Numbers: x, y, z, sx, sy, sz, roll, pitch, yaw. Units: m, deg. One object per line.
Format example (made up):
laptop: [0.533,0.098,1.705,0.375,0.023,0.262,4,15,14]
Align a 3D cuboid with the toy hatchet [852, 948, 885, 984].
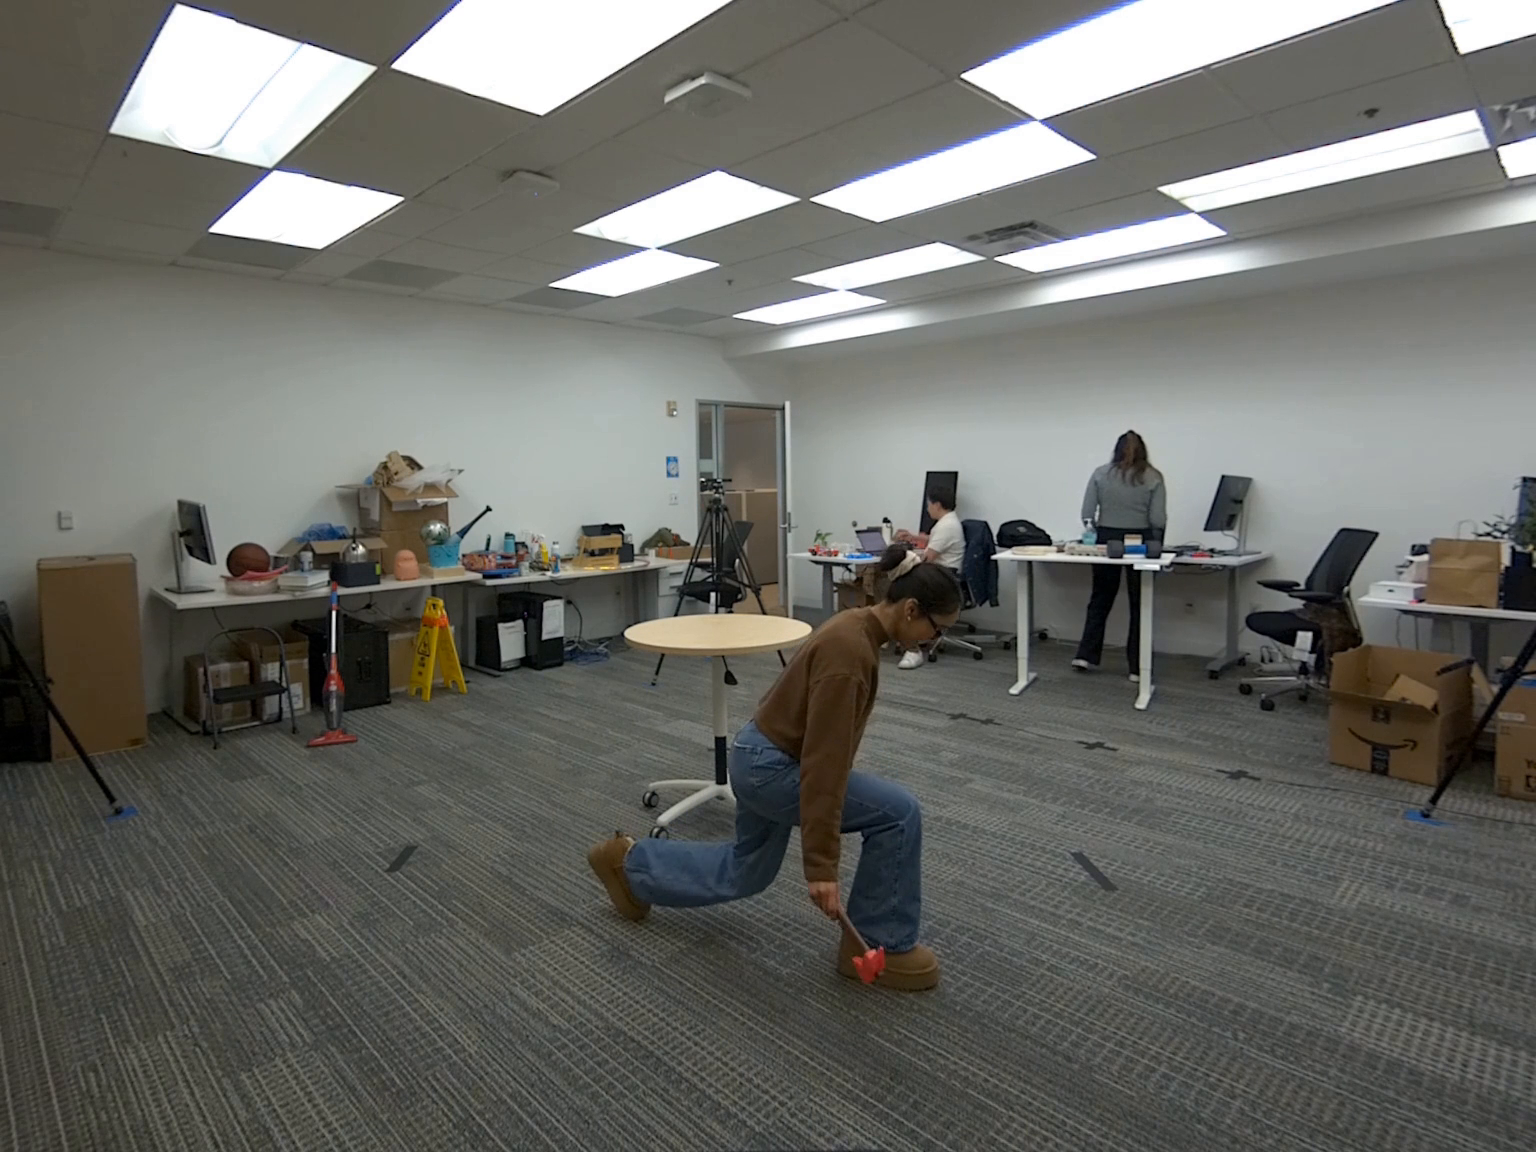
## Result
toy hatchet: [0.175,0.845,2.029,0.029,0.129,0.279,-15,21,-29]
